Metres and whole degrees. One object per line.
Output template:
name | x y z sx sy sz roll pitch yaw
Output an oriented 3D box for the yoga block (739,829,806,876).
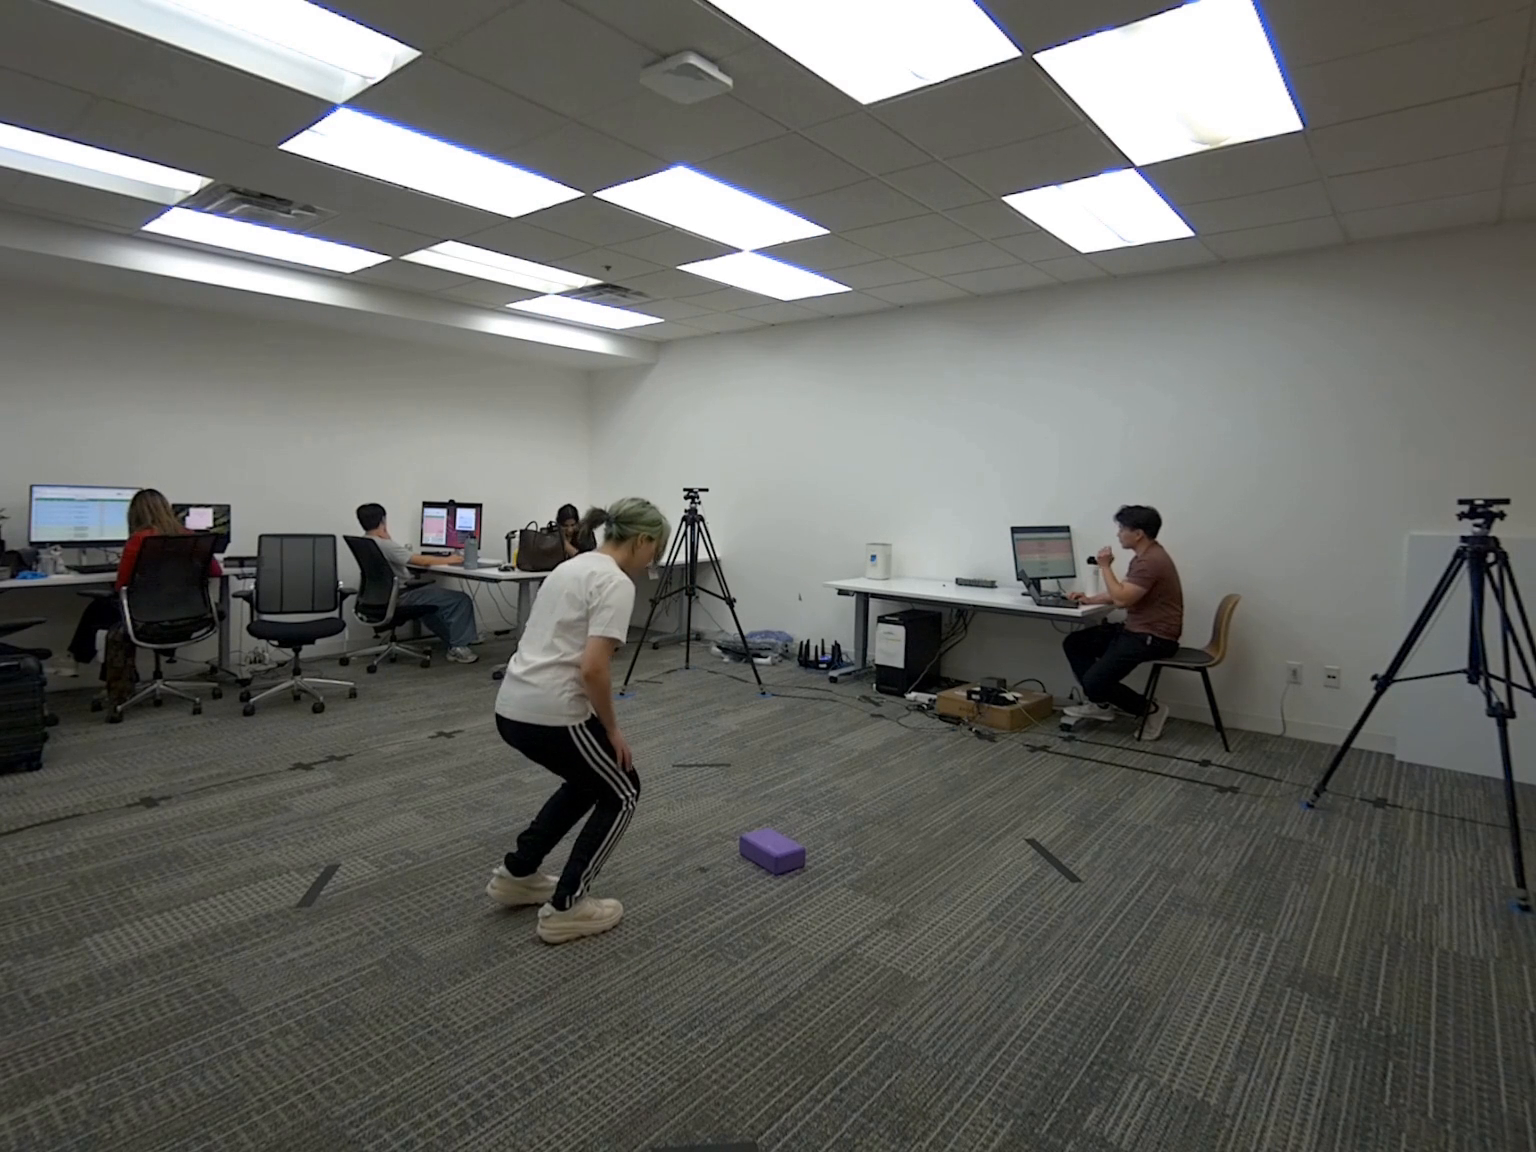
yoga block | 0.008 1.025 3.193 0.144 0.076 0.237 -1 5 -37
